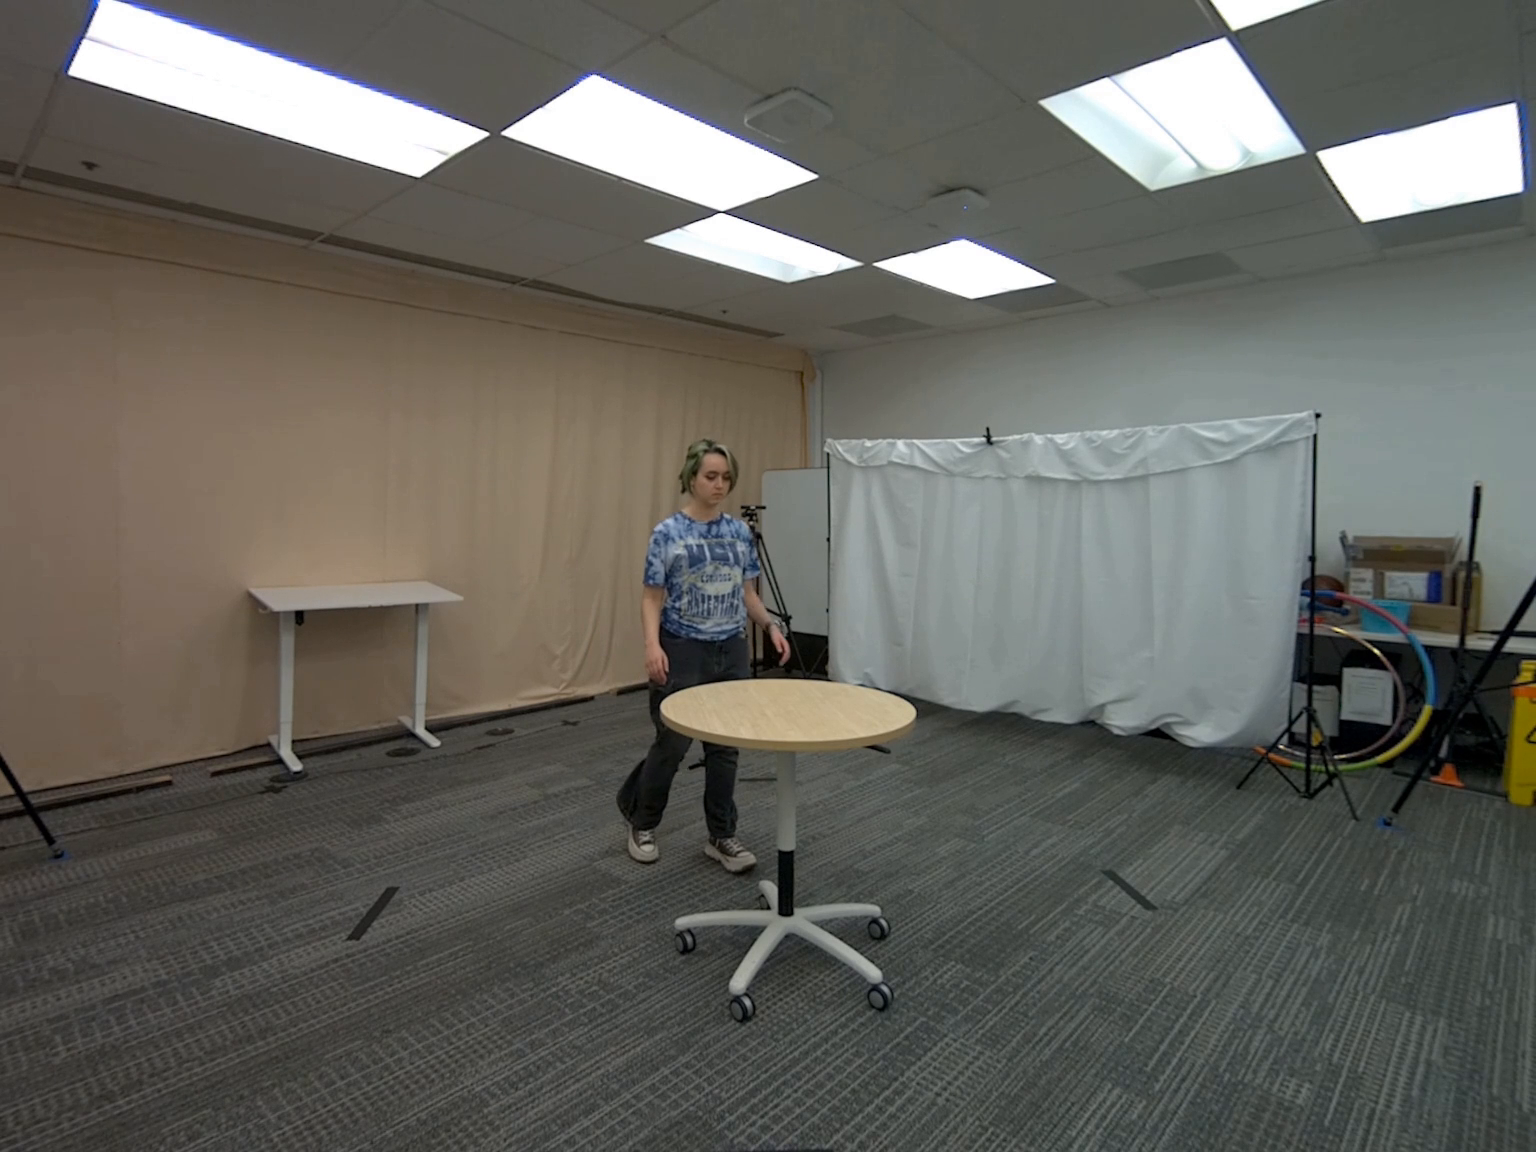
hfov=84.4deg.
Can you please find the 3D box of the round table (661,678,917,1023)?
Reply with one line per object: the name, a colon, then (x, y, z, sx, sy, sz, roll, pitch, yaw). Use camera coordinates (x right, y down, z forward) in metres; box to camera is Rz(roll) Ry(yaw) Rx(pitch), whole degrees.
round table: (0.069, 0.789, 2.571, 0.763, 0.792, 0.767, 0, 4, -2)
